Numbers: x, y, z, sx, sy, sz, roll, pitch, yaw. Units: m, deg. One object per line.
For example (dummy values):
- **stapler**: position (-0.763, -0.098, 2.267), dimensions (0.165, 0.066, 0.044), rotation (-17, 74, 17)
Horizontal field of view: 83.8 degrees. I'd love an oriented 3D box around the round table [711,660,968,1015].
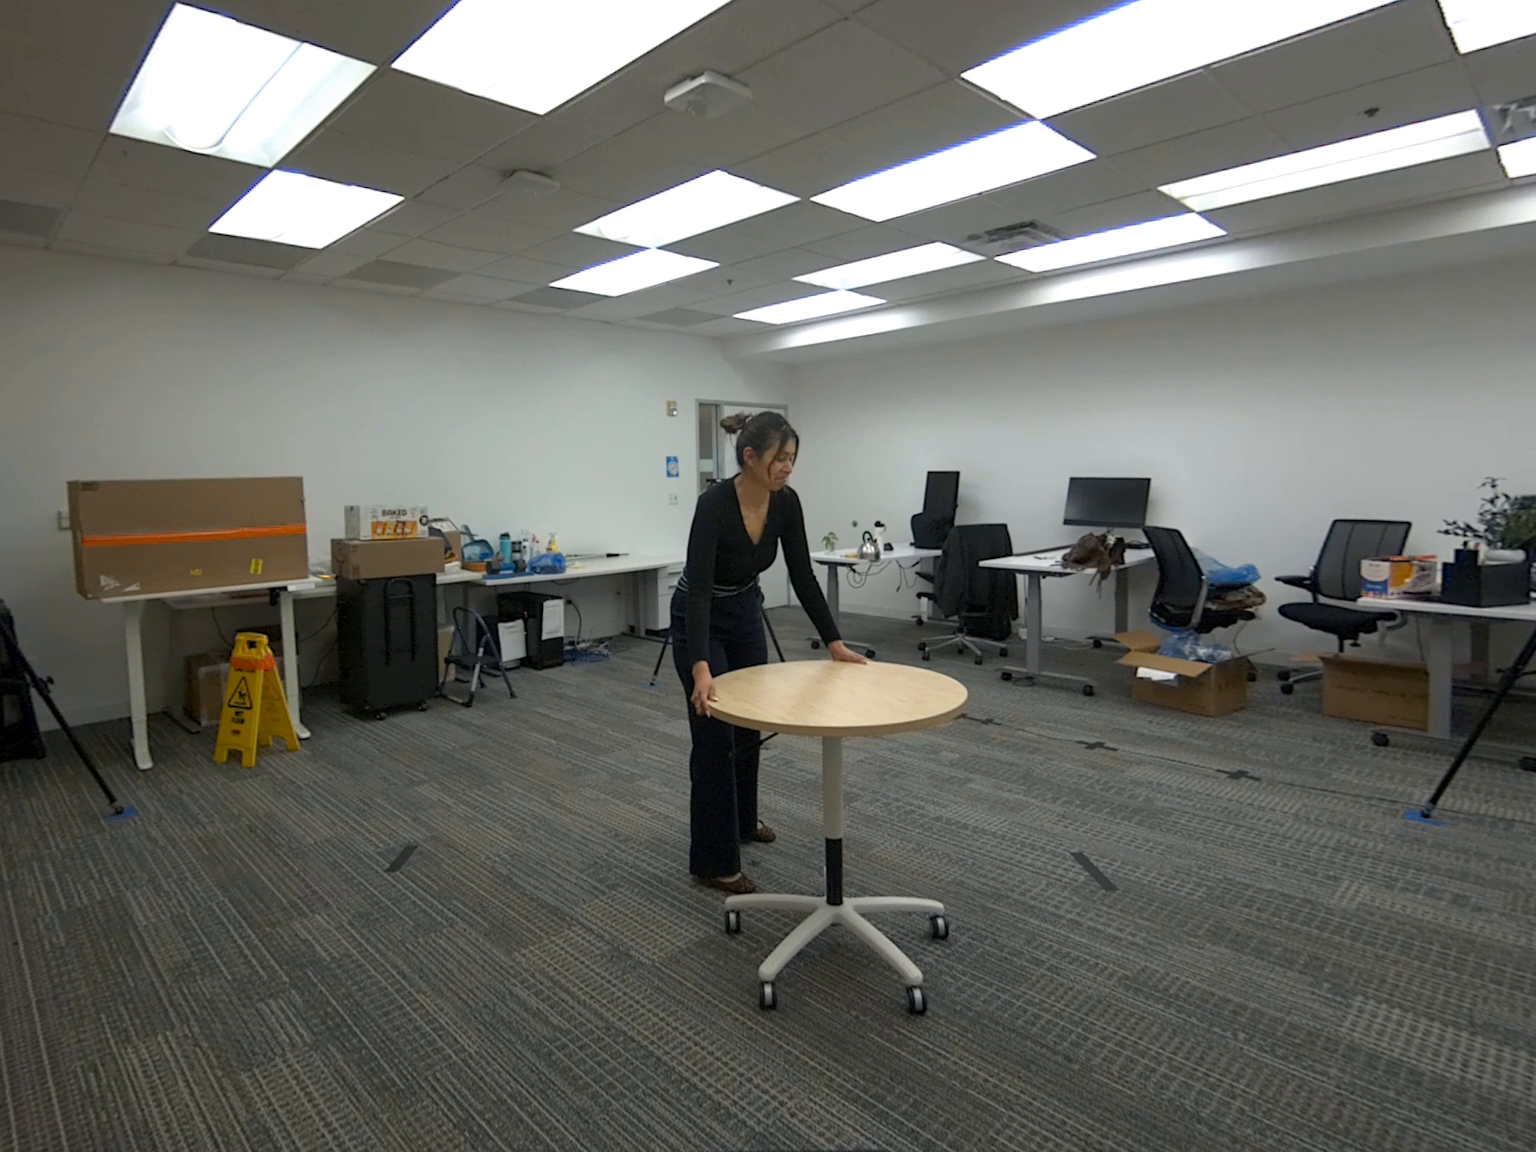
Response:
- **round table**: position (0.202, 0.721, 2.516), dimensions (0.763, 0.791, 0.768), rotation (-1, 5, -2)
